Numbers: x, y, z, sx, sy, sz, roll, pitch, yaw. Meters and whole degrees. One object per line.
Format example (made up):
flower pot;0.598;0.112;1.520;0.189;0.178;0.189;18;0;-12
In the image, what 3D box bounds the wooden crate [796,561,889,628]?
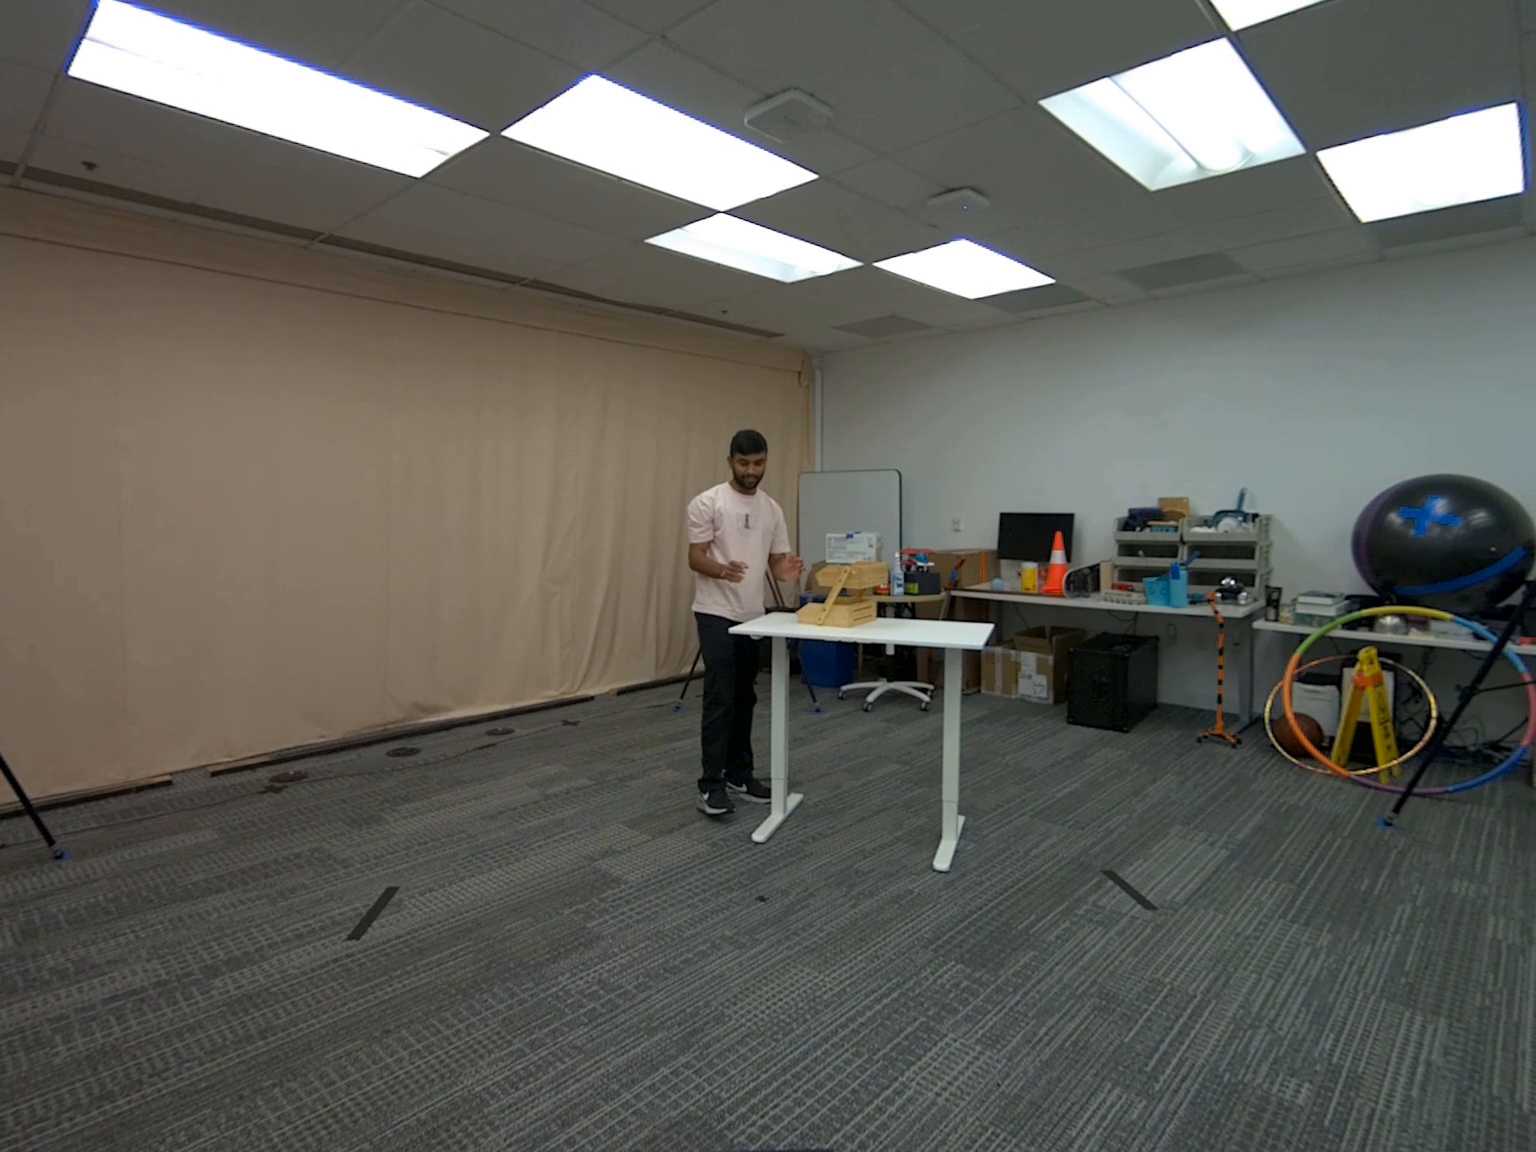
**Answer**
wooden crate;0.325;0.070;3.679;0.311;0.272;0.316;3;5;31
